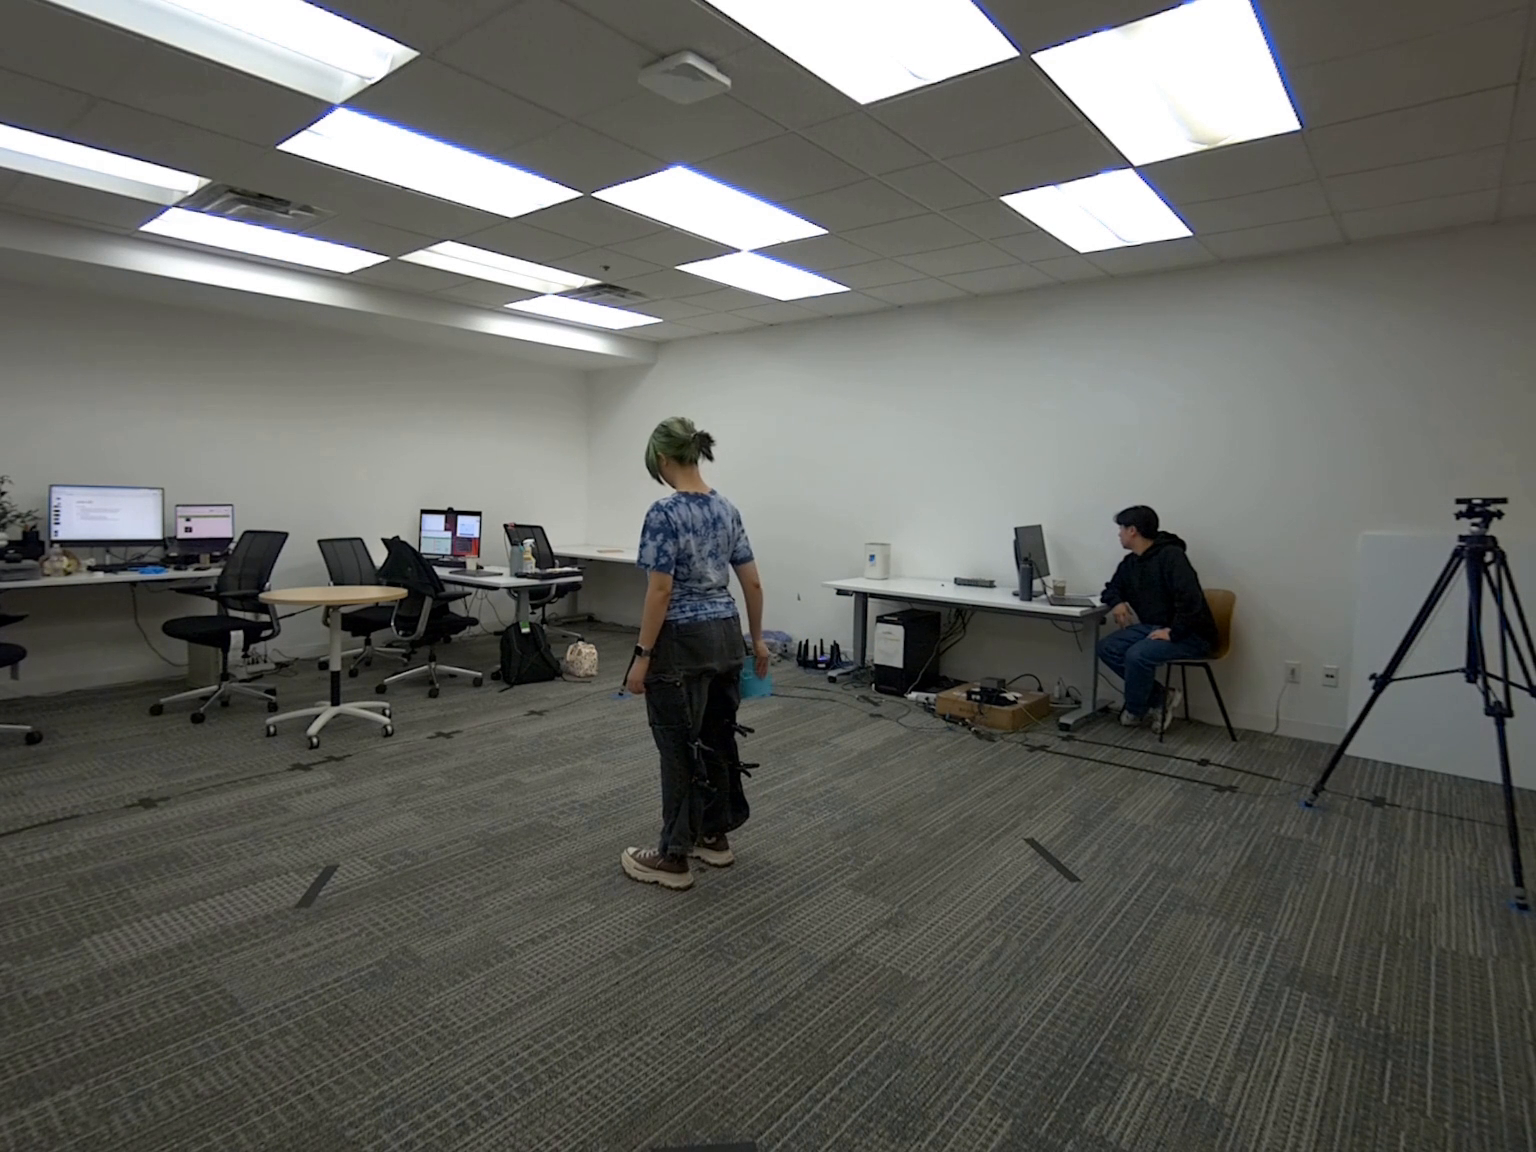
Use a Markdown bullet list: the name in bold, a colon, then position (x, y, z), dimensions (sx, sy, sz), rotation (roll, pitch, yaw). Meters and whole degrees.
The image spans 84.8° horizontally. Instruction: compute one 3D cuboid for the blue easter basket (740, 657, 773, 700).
- **blue easter basket**: position (-0.102, 0.383, 3.347), dimensions (0.243, 0.157, 0.242), rotation (-10, -7, -3)
